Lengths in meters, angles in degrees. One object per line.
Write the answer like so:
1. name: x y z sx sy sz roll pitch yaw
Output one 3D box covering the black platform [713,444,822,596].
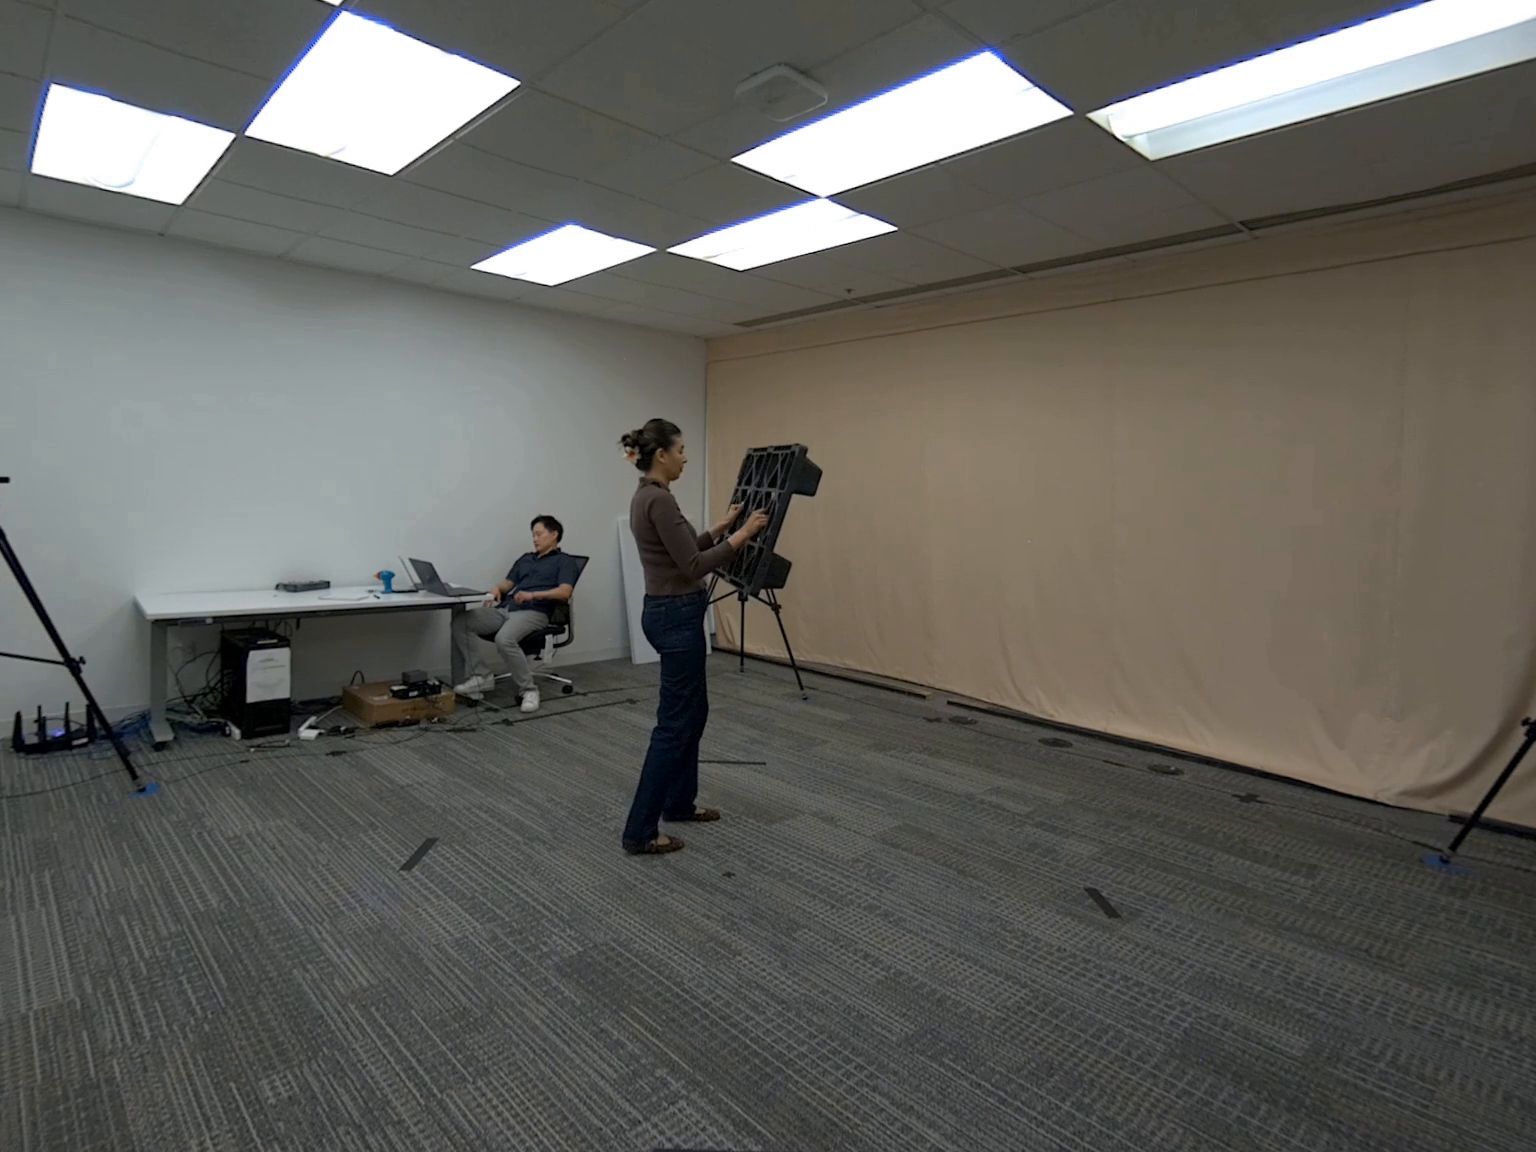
1. black platform: -0.034 -0.243 3.527 0.141 0.605 0.818 18 2 -16
